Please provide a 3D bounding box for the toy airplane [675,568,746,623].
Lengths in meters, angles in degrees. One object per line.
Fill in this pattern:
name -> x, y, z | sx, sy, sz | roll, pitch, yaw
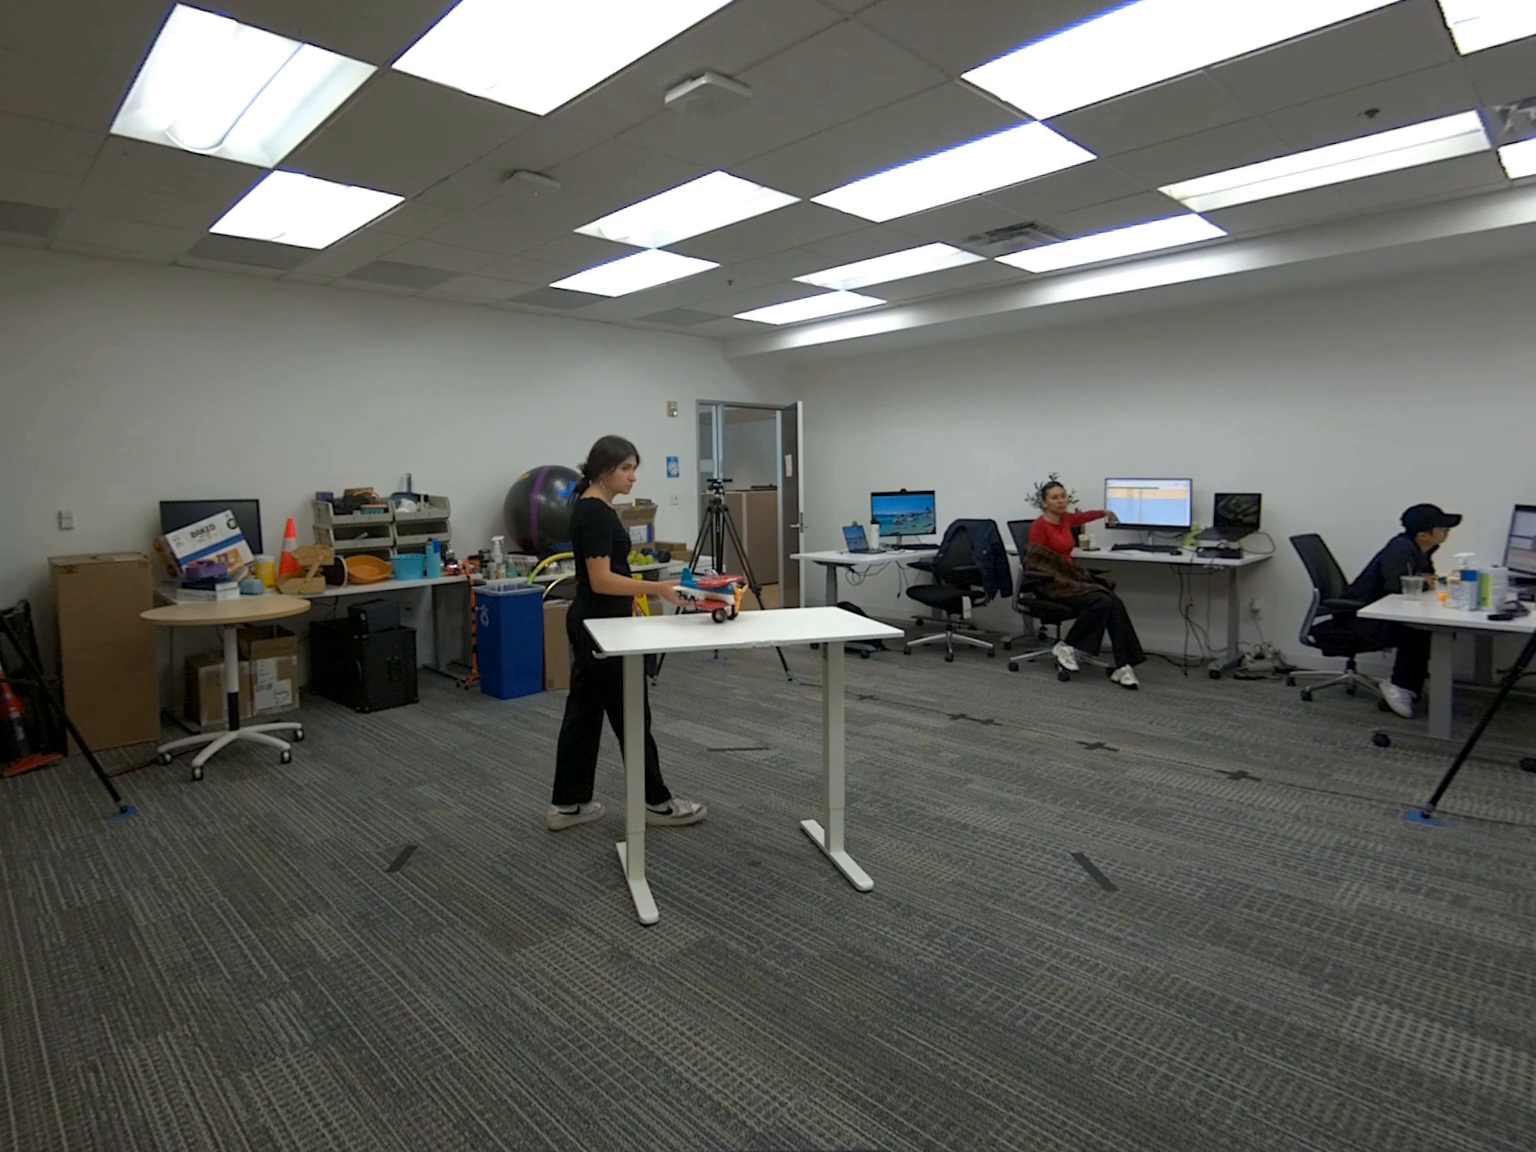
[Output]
toy airplane -> -0.213, 0.065, 3.107 | 0.258, 0.155, 0.254 | 16, 12, -3
